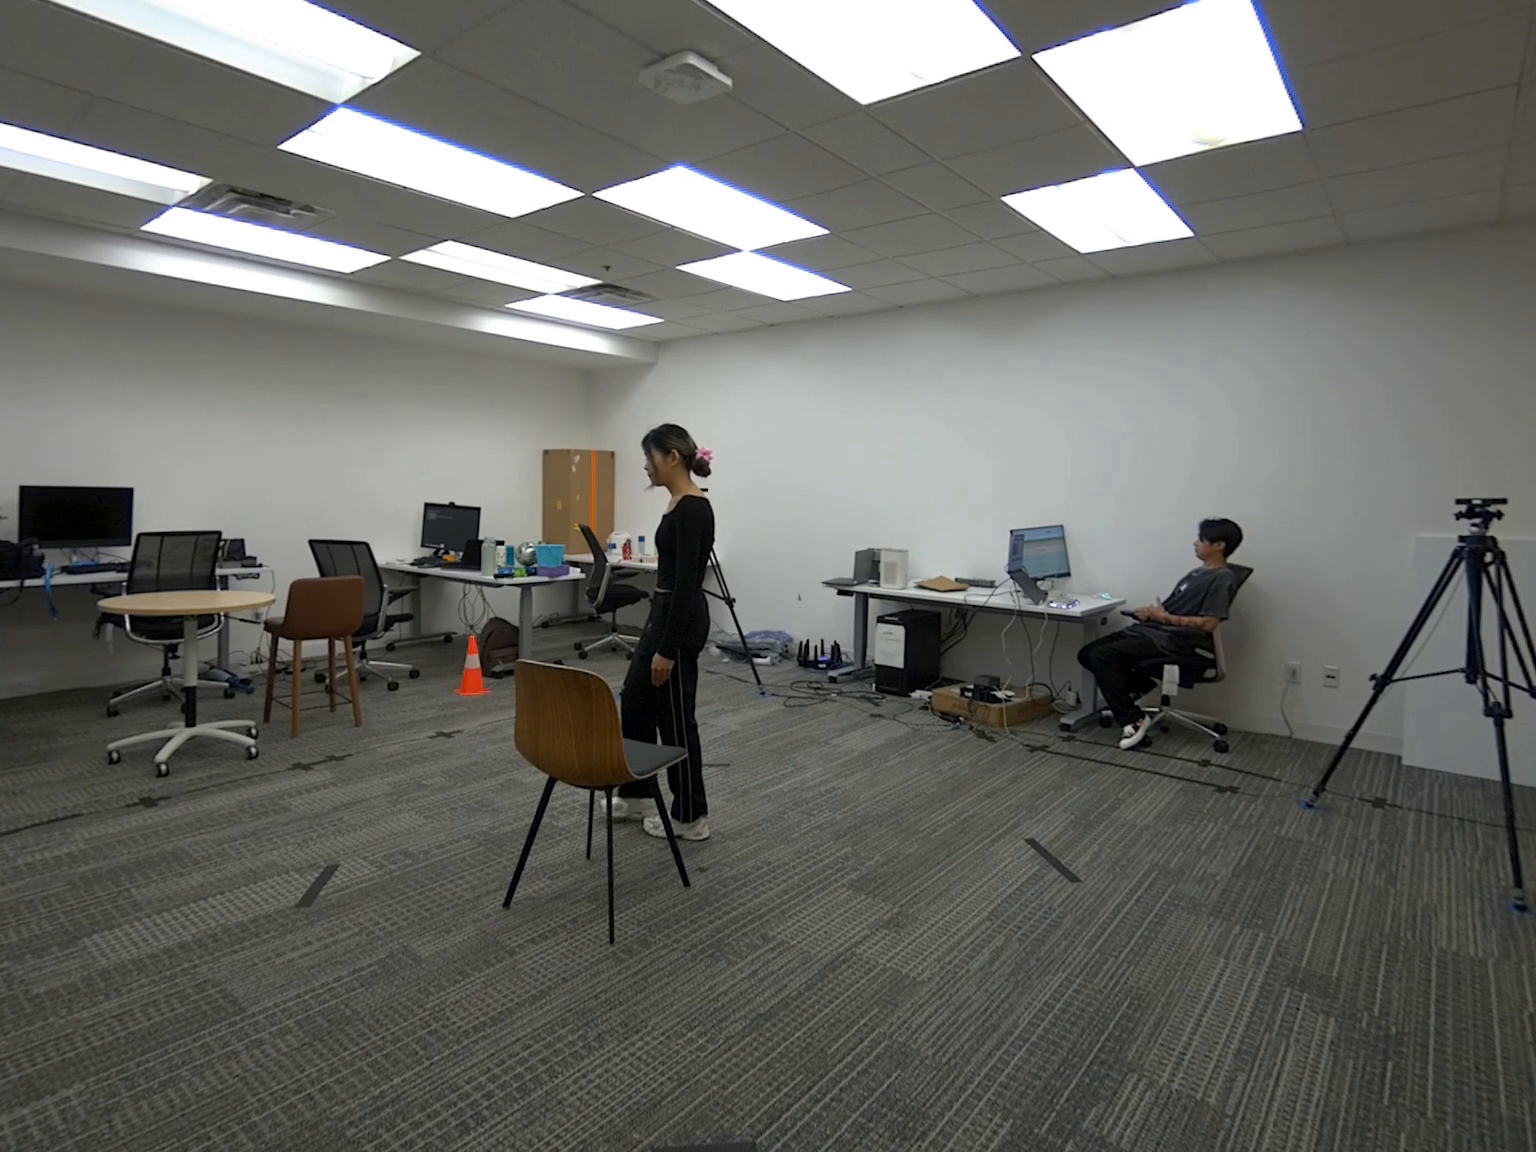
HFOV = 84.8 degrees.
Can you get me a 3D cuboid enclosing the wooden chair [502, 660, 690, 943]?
[{"bbox_3d":[-0.571,0.661,2.865,0.492,0.871,0.512,3,8,29],"label":"wooden chair"}]
